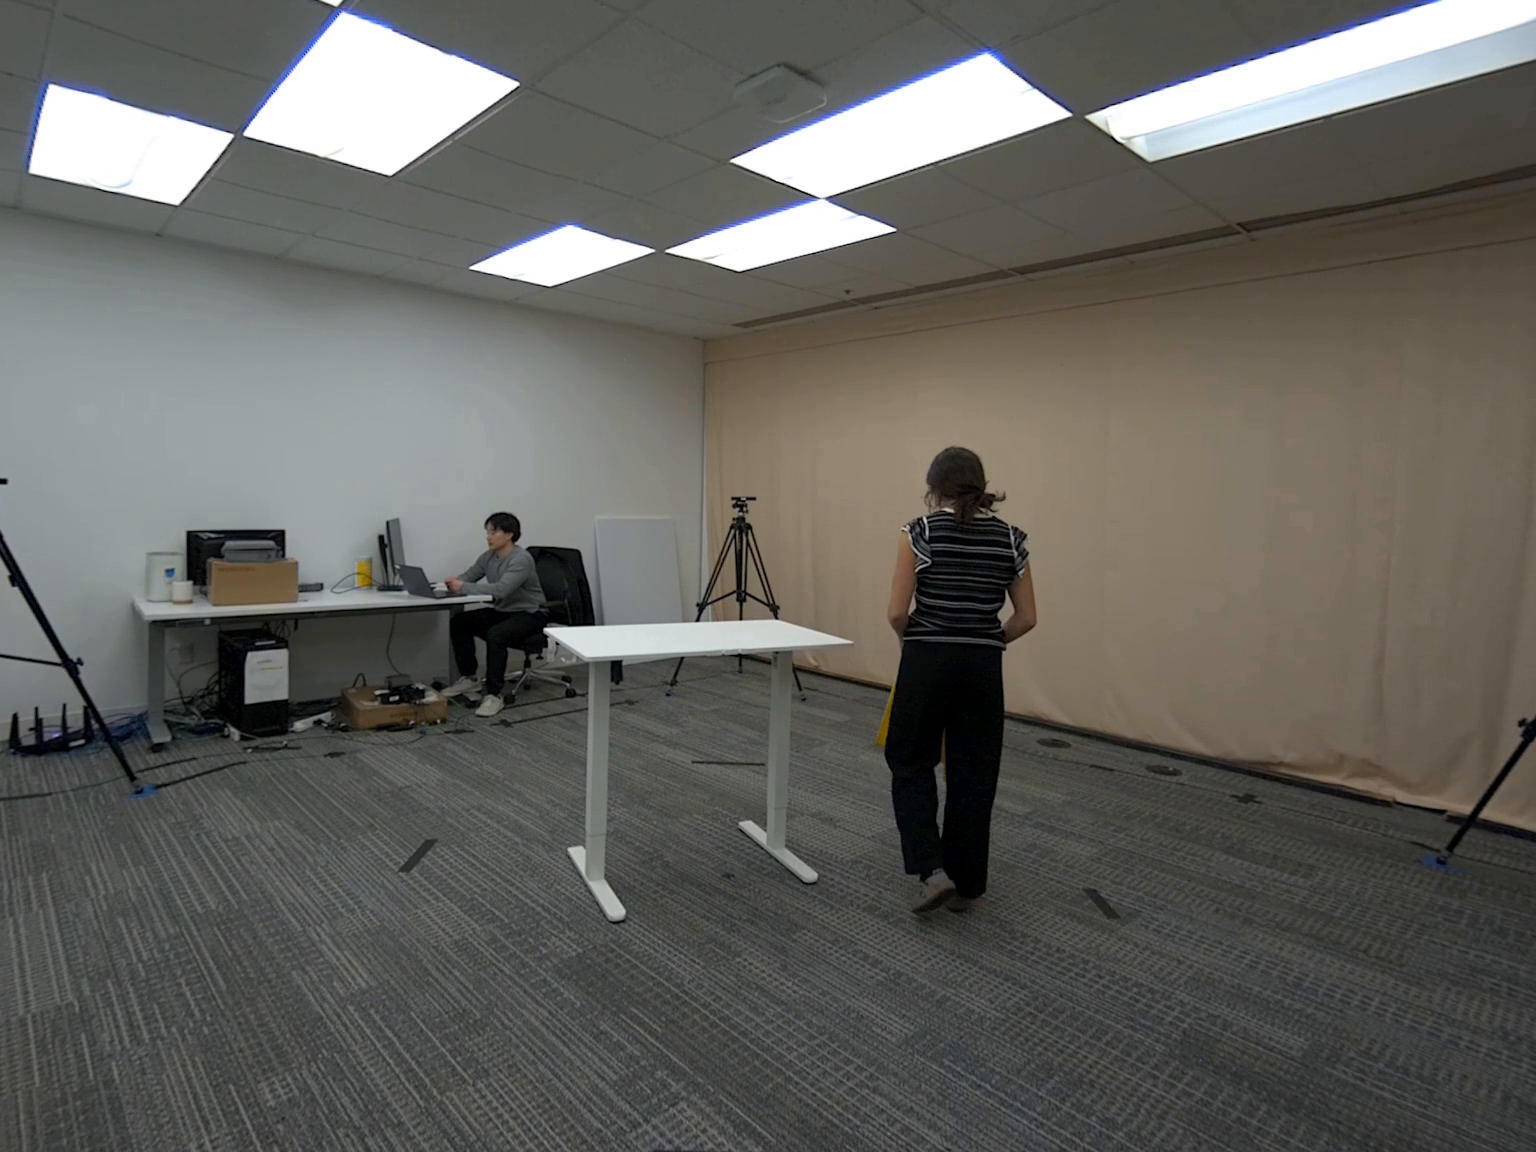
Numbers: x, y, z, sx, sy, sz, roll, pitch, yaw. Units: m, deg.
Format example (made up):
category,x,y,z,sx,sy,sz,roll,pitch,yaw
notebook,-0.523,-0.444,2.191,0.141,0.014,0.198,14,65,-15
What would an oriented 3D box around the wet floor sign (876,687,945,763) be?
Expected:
category,x,y,z,sx,sy,sz,roll,pitch,yaw
wet floor sign,0.600,0.420,3.124,0.281,0.640,0.294,7,16,-6
